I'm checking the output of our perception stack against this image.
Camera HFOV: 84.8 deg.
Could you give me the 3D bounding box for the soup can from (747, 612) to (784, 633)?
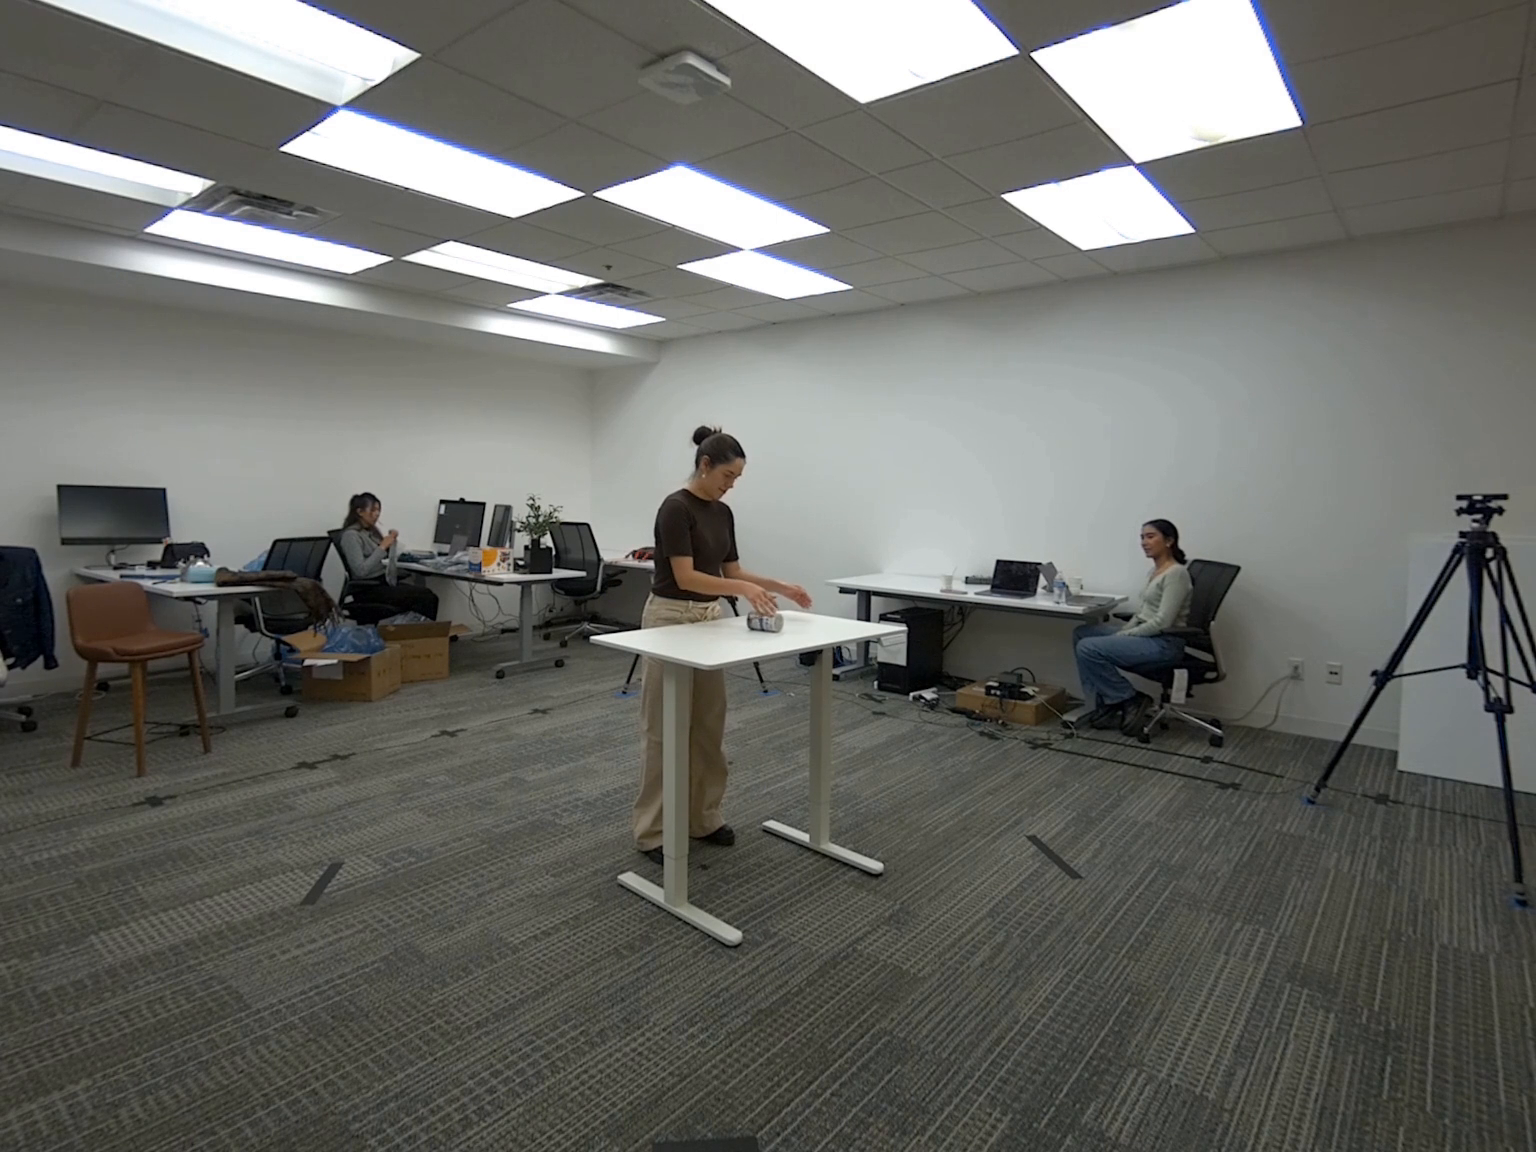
[{"bbox_3d":[-0.030,0.165,3.016,0.065,0.067,0.125,-2,4,-29],"label":"soup can"}]
